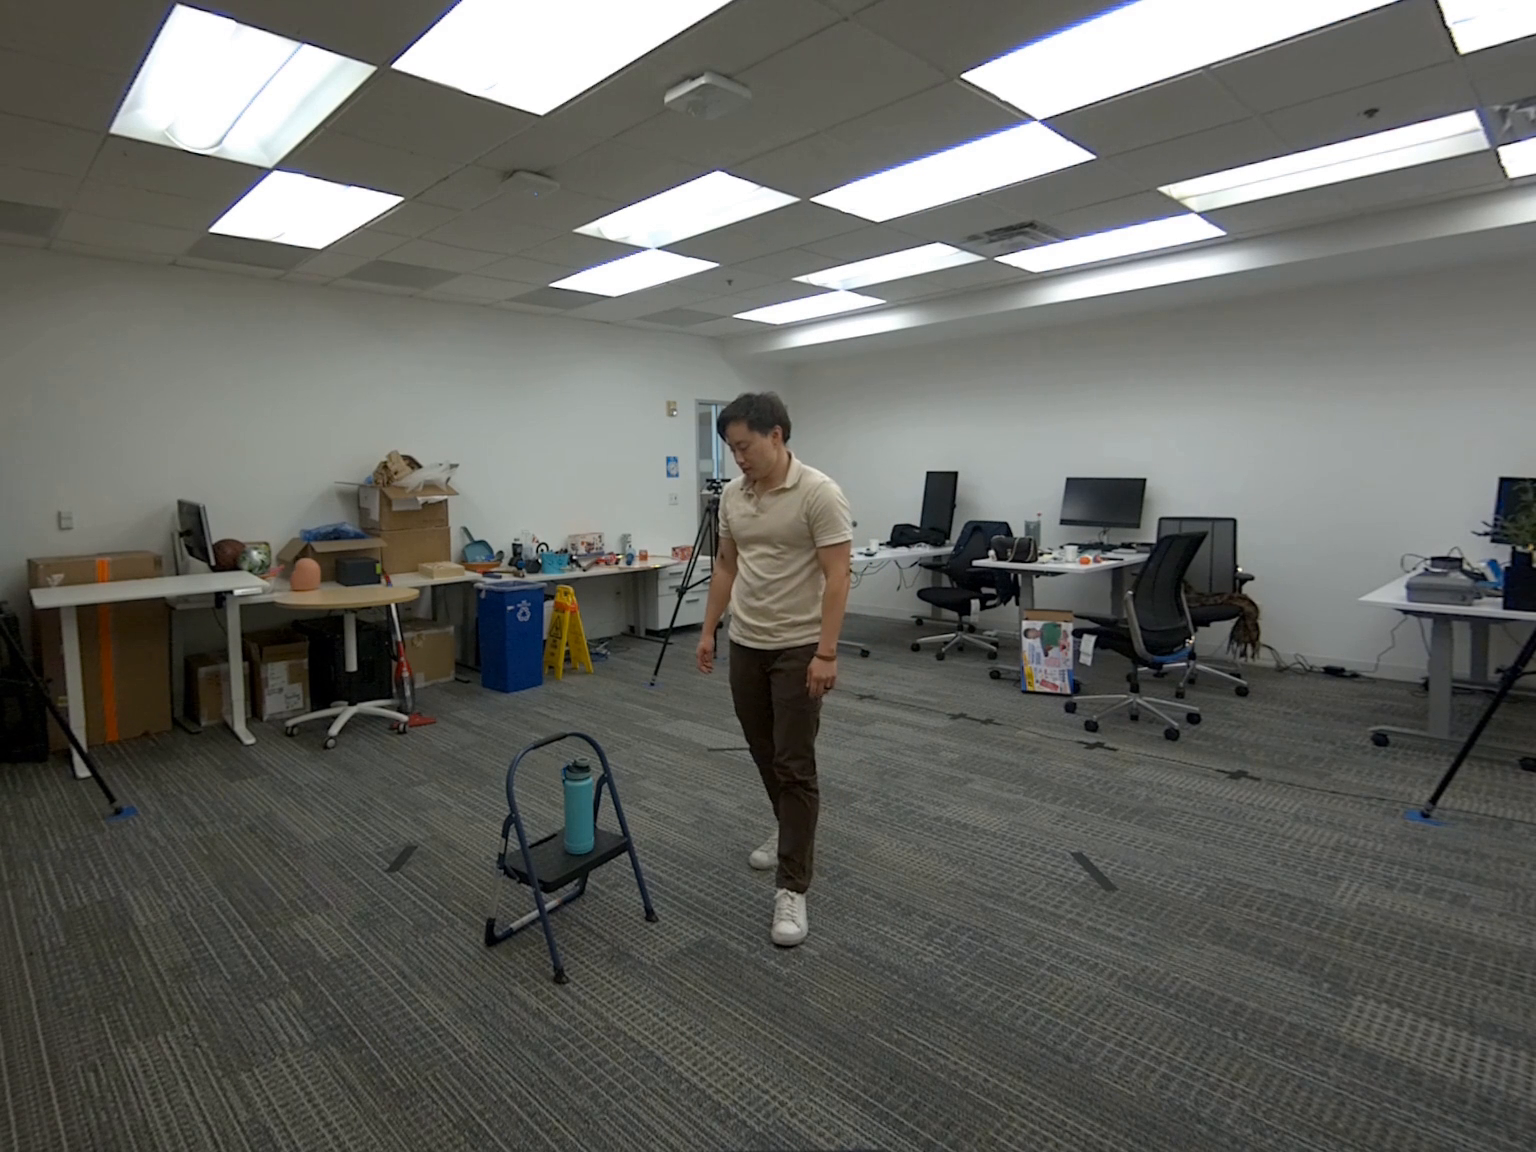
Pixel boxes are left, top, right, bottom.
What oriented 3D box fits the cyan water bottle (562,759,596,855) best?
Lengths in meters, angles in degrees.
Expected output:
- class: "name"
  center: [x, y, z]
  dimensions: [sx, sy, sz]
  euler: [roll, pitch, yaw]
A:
- class: "cyan water bottle"
  center: [-0.584, 0.705, 2.646]
  dimensions: [0.092, 0.282, 0.093]
  euler: [-2, 4, -1]
